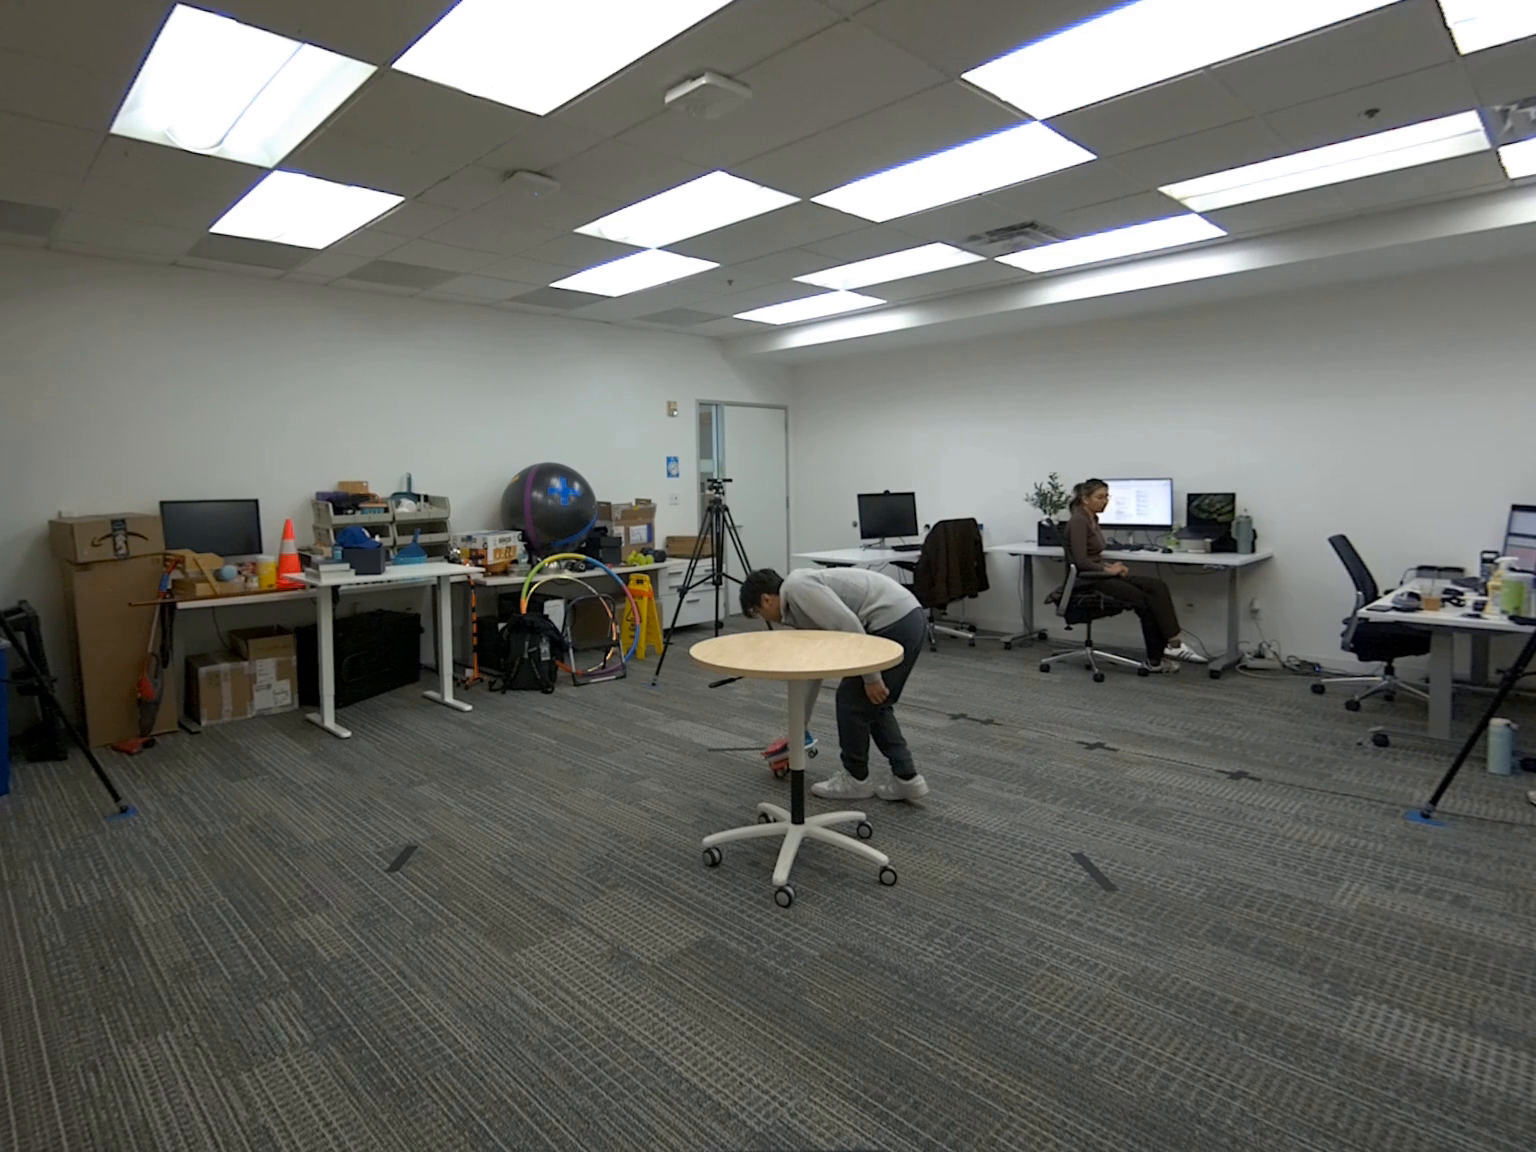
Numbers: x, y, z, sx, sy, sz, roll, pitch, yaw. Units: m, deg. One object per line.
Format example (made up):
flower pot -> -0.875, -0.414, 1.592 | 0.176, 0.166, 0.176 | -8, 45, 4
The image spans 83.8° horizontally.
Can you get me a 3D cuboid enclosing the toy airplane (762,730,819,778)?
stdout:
toy airplane -> 0.115, 0.831, 4.036 | 0.258, 0.158, 0.249 | -34, -8, -8
